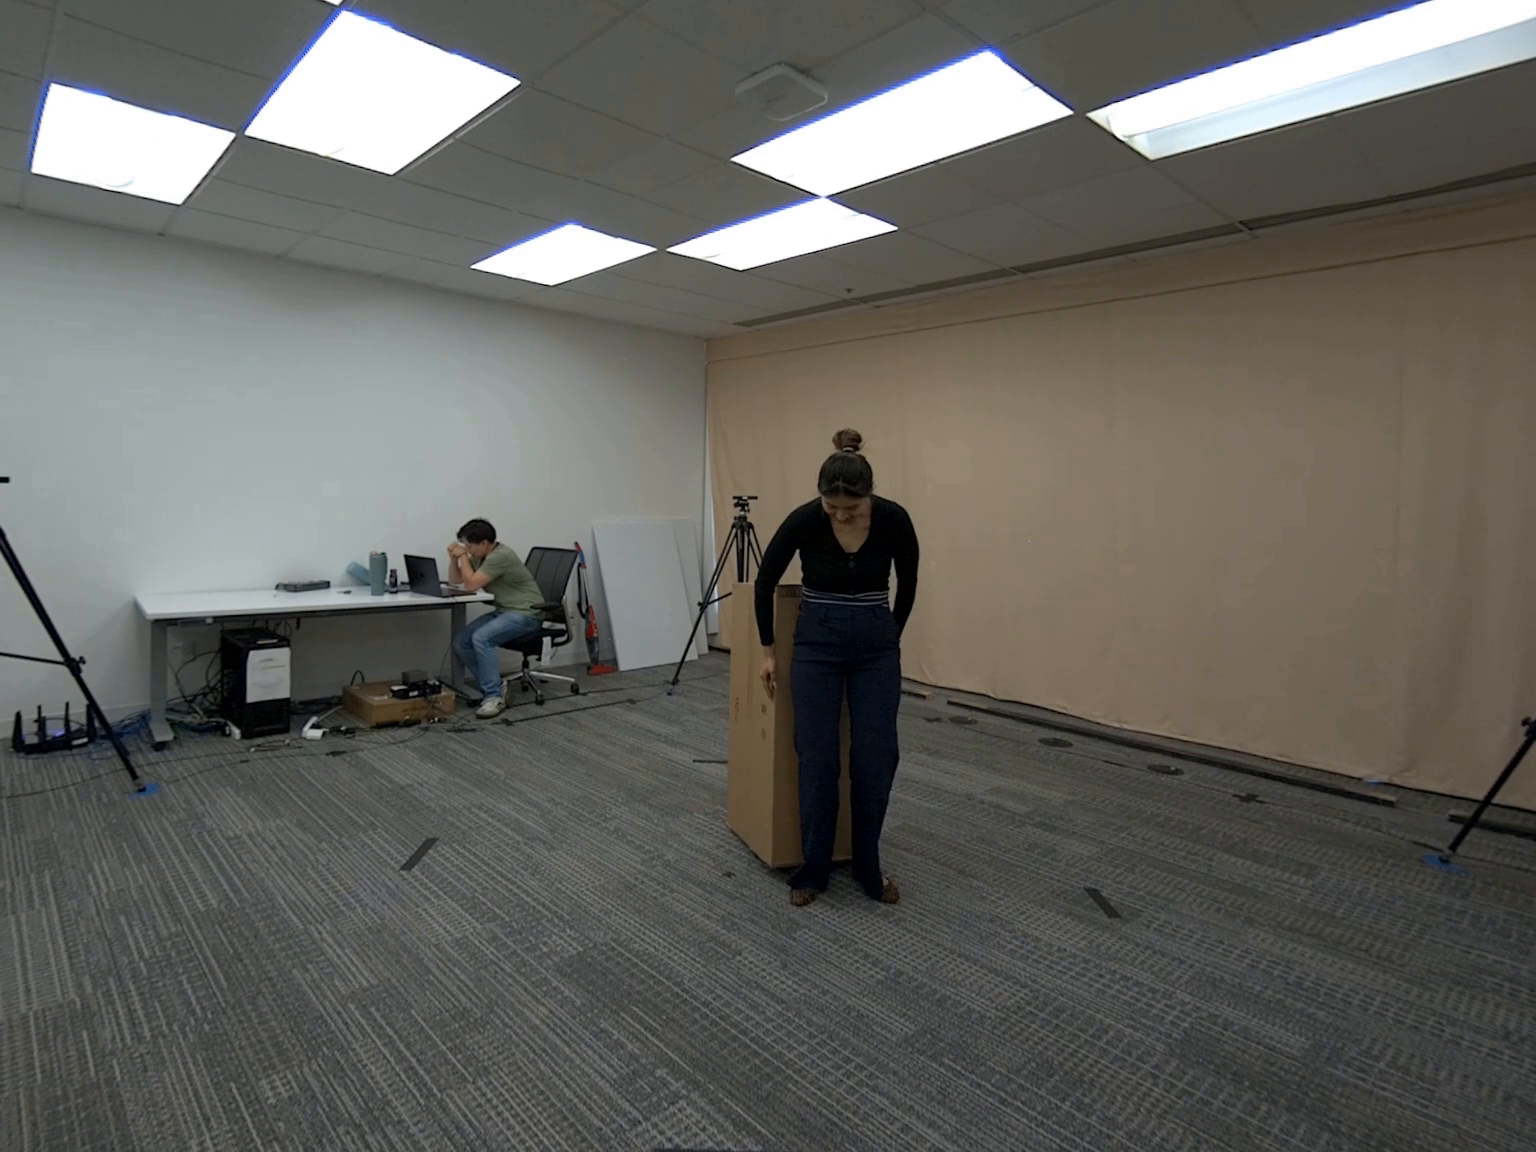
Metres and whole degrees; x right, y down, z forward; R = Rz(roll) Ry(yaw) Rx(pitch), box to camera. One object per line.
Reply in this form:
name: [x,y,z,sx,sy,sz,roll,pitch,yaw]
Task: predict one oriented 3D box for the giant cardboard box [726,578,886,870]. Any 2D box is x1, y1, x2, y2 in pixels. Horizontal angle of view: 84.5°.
giant cardboard box: [0.122,0.549,3.393,0.420,1.027,0.585,3,-2,-19]
